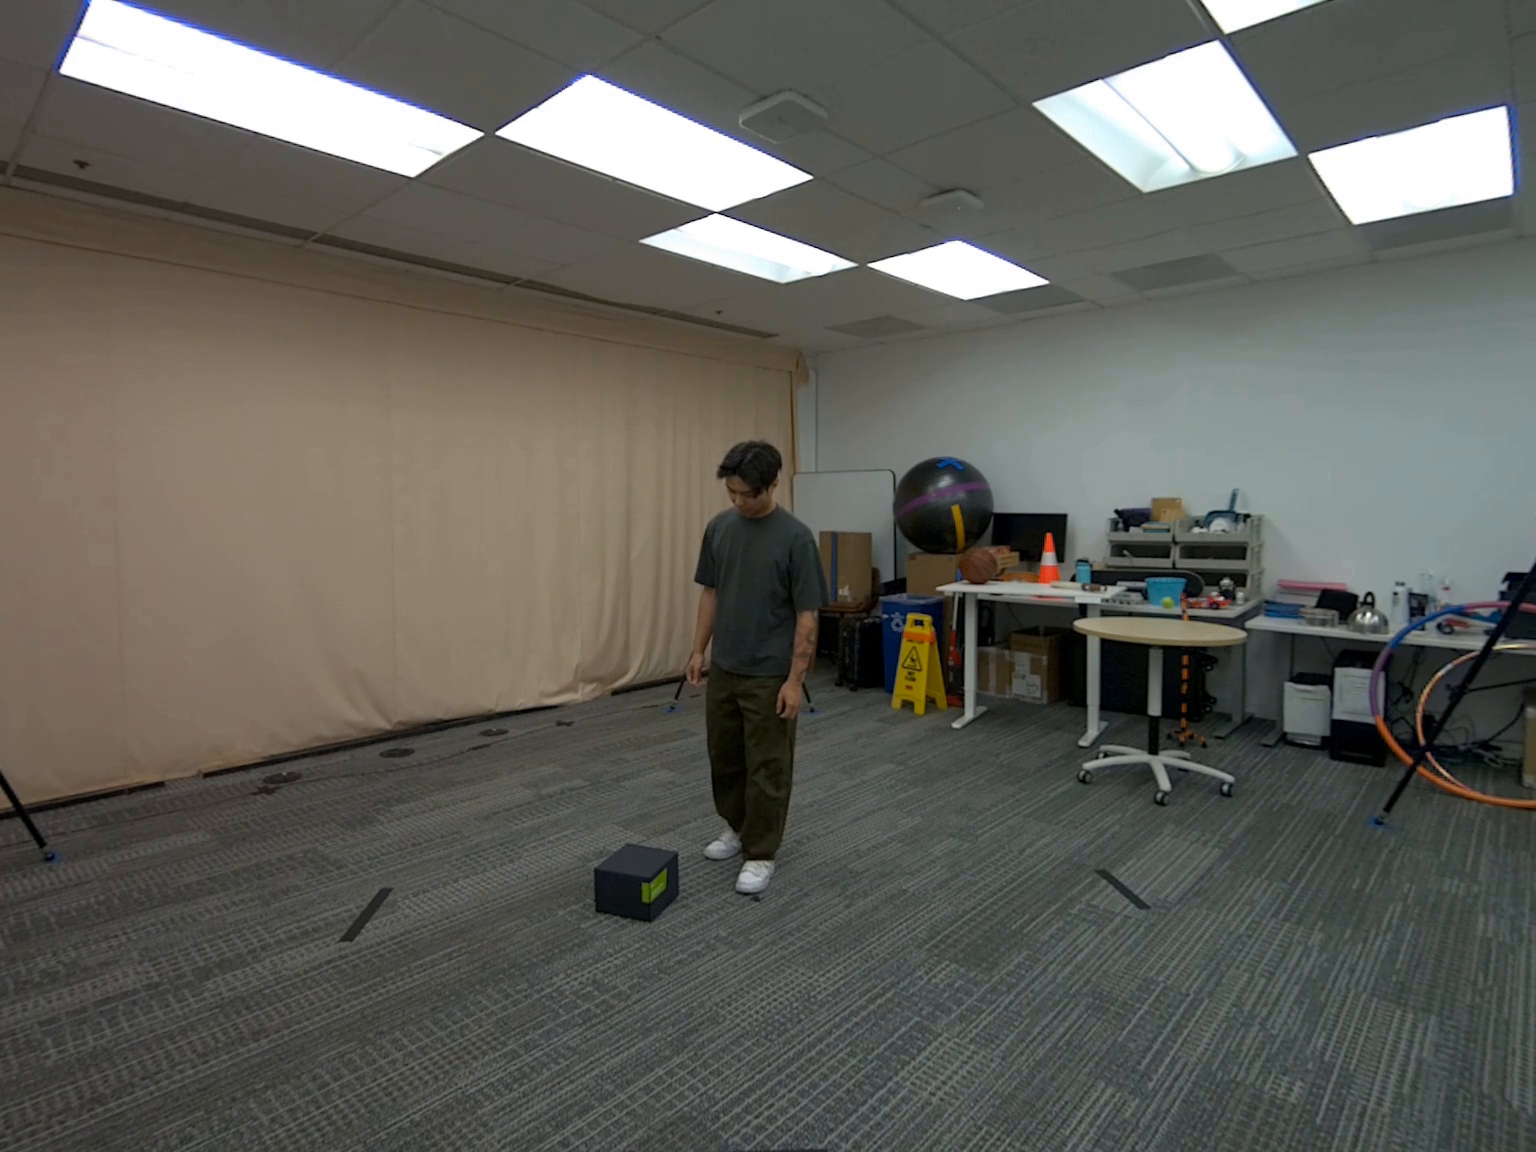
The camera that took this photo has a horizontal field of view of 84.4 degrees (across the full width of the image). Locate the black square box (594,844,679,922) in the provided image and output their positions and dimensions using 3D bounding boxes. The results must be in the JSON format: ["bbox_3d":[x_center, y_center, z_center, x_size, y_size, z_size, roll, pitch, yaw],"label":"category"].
[{"bbox_3d":[-0.455,1.066,2.948,0.222,0.155,0.223,1,4,21],"label":"black square box"}]
